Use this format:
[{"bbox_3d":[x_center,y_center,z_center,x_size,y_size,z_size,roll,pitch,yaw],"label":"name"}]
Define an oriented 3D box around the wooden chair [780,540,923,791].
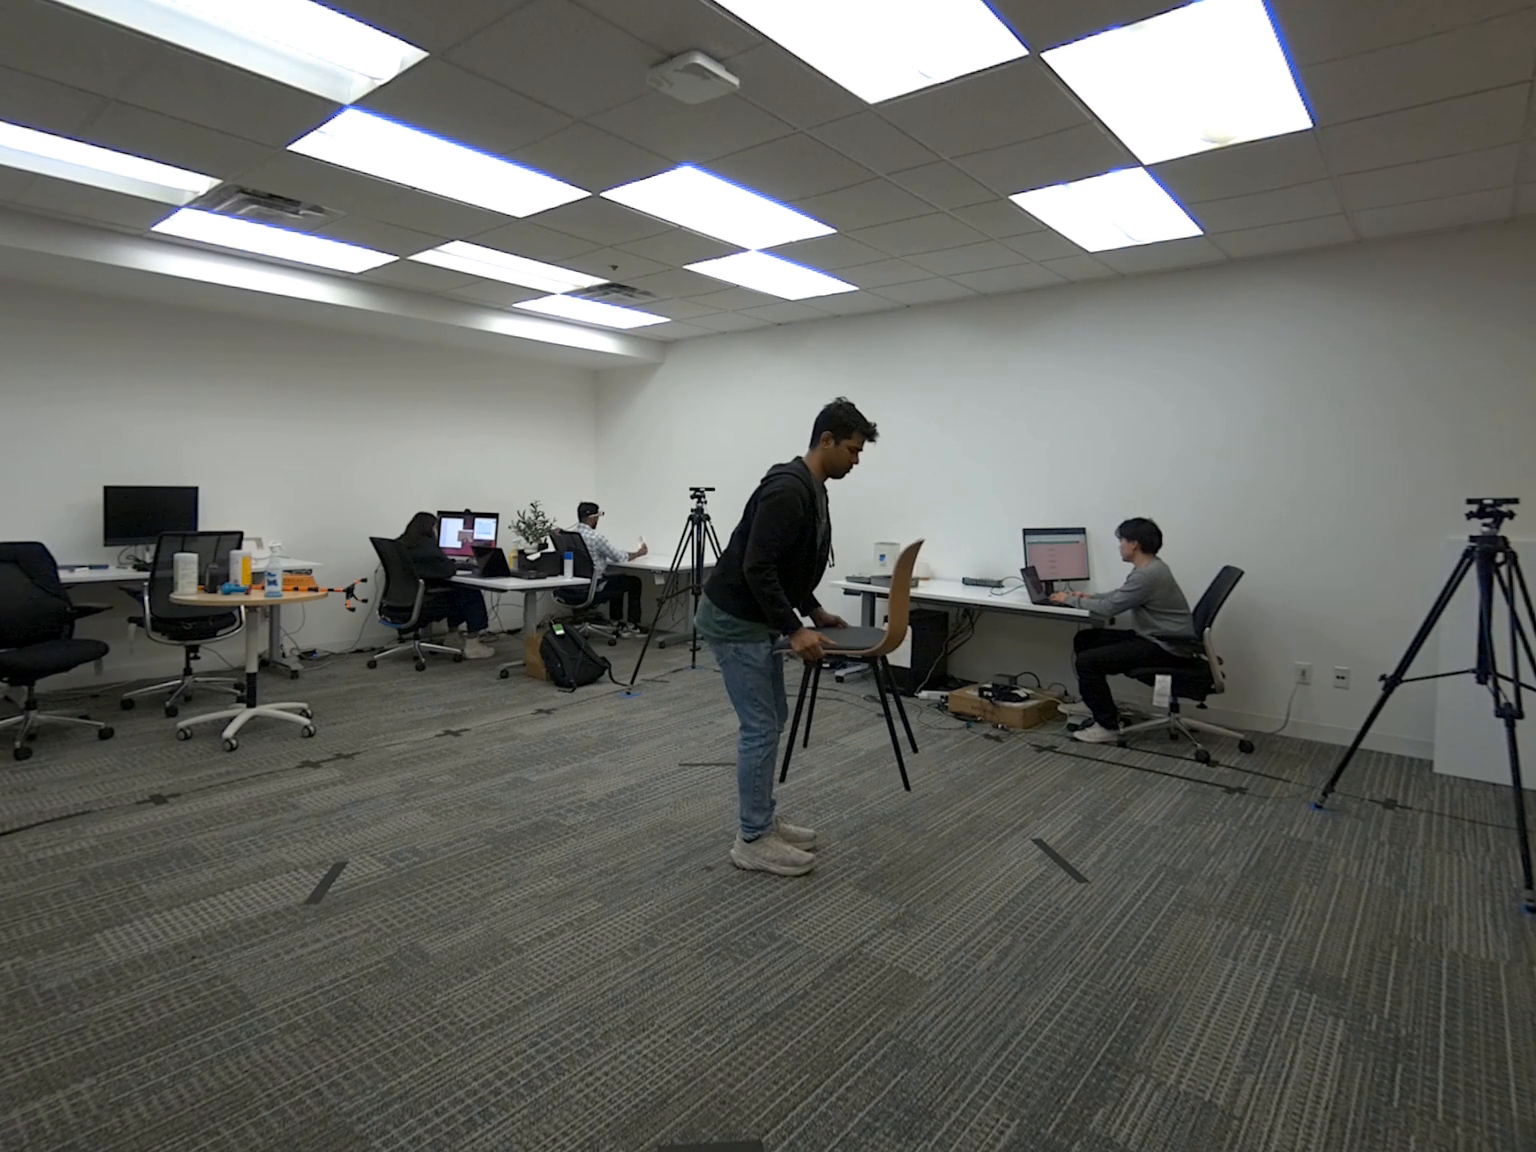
[{"bbox_3d":[0.283,0.298,3.133,0.533,0.875,0.471,3,4,15],"label":"wooden chair"}]
